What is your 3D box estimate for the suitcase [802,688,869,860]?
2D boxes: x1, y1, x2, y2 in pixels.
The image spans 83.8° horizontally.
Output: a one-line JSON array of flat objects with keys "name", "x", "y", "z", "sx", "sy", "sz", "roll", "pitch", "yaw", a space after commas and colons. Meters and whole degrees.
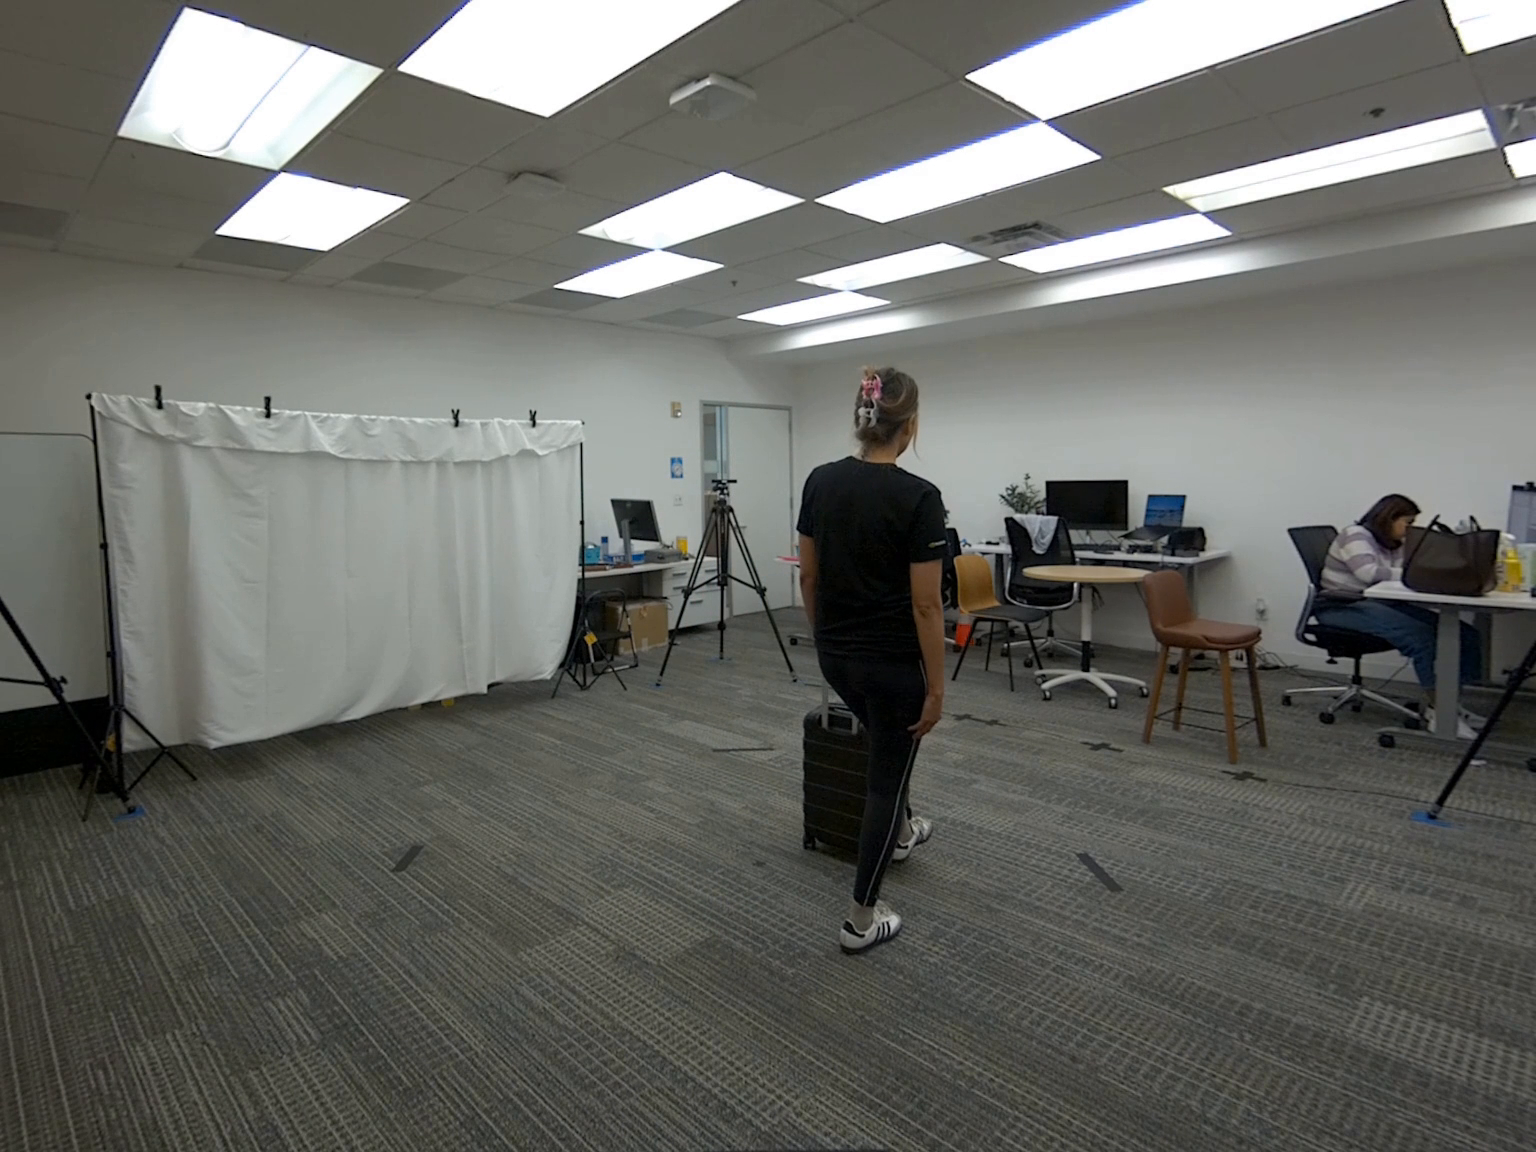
[{"name": "suitcase", "x": 0.327, "y": 0.556, "z": 3.179, "sx": 0.395, "sy": 0.976, "sz": 0.250, "roll": 3, "pitch": 3, "yaw": 40}]
